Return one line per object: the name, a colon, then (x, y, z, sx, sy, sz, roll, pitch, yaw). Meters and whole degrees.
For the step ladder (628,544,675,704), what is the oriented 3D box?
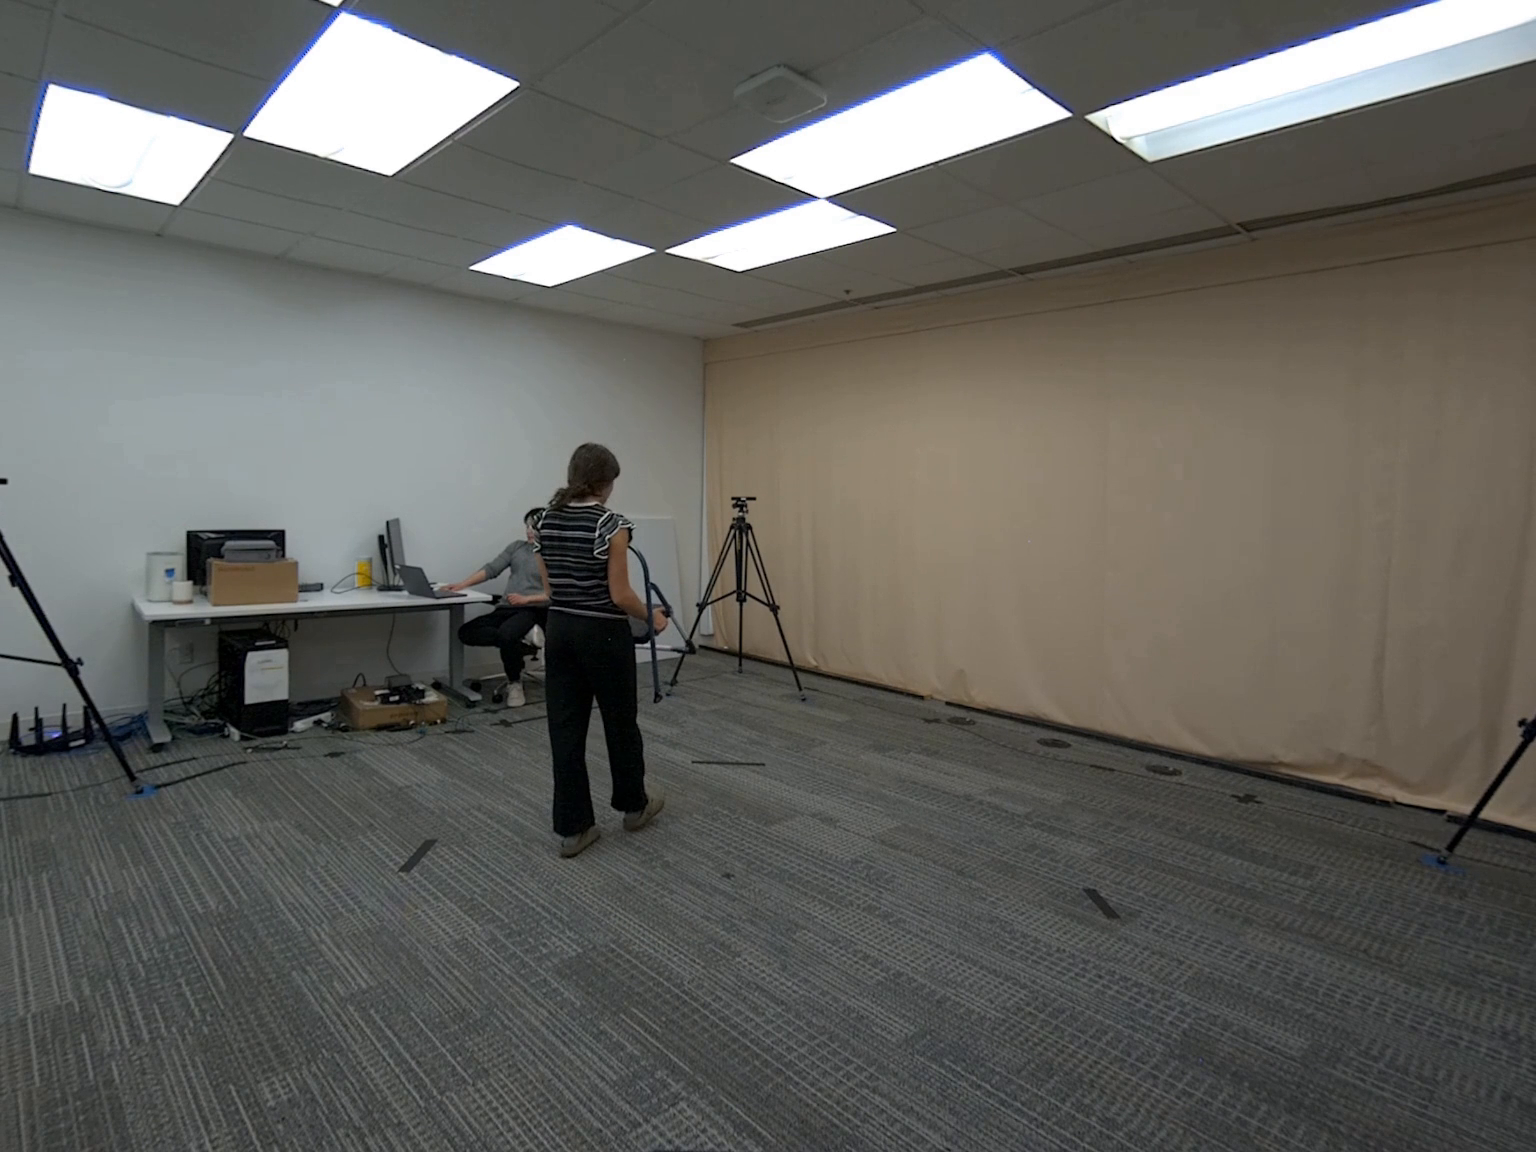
step ladder: (-0.627, 0.160, 3.500, 0.439, 0.593, 0.350, 1, 30, 28)
